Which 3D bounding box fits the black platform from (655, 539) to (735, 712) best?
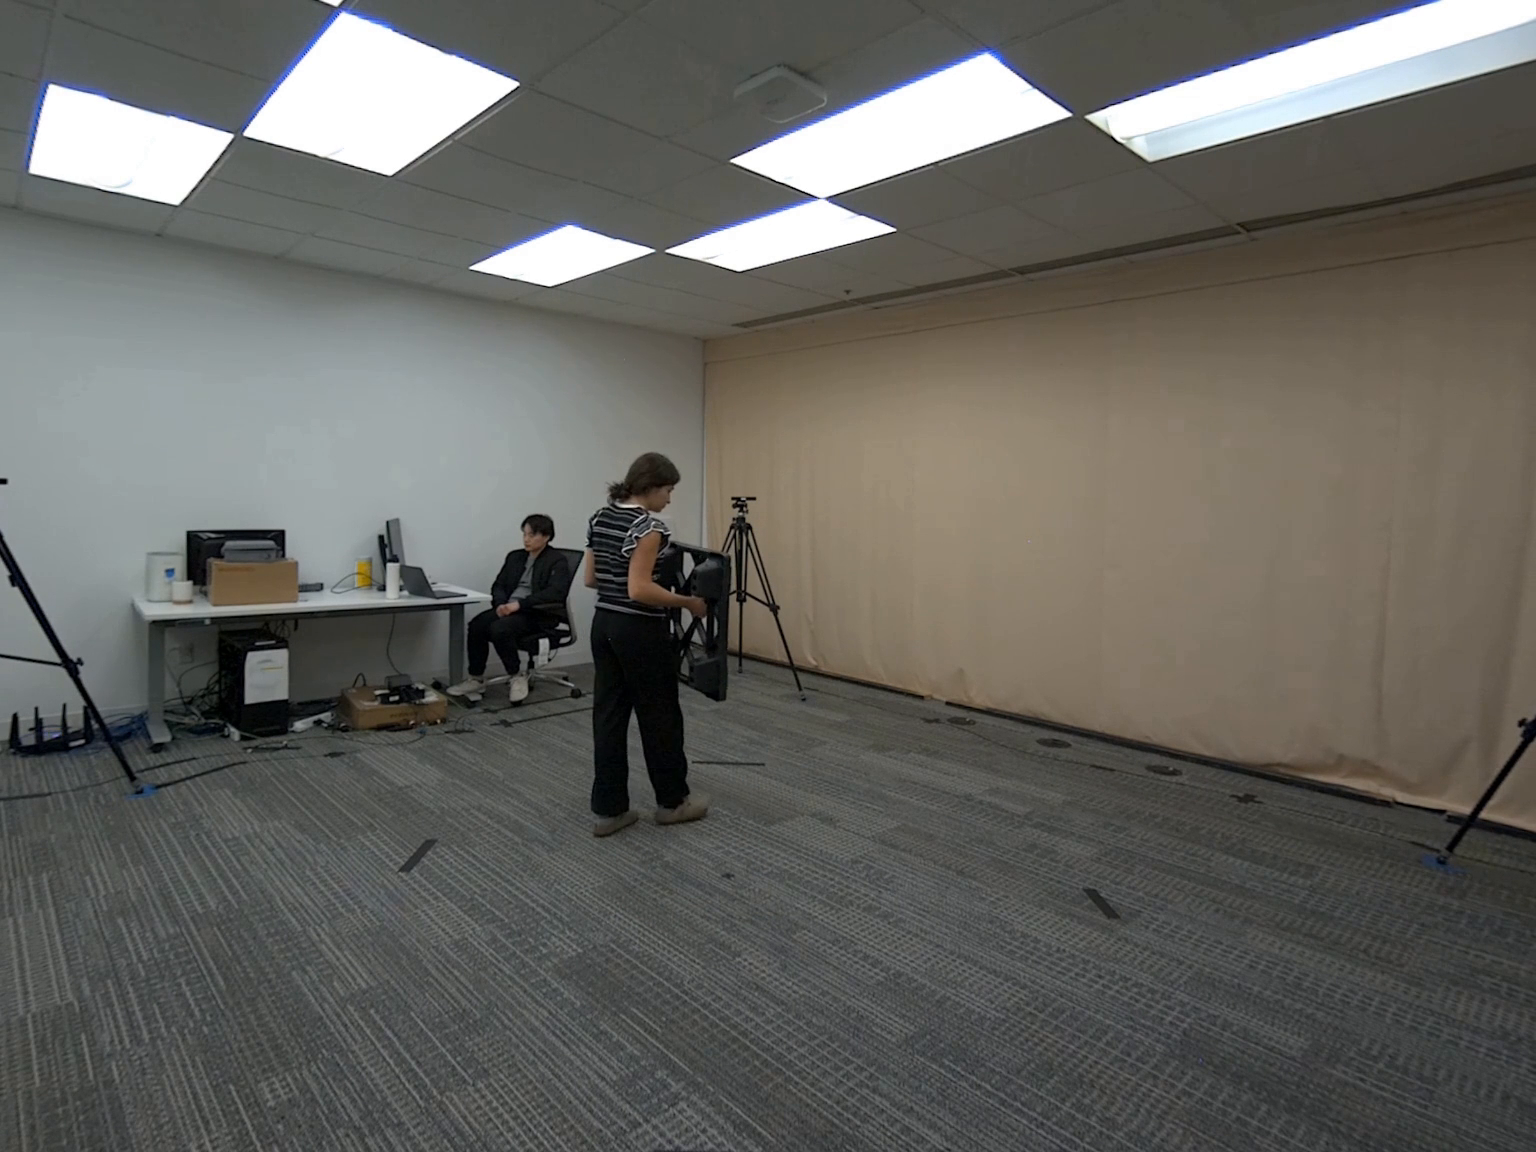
[{"bbox_3d":[-0.446,0.155,3.615,0.140,0.602,0.827,-3,10,-37],"label":"black platform"}]
